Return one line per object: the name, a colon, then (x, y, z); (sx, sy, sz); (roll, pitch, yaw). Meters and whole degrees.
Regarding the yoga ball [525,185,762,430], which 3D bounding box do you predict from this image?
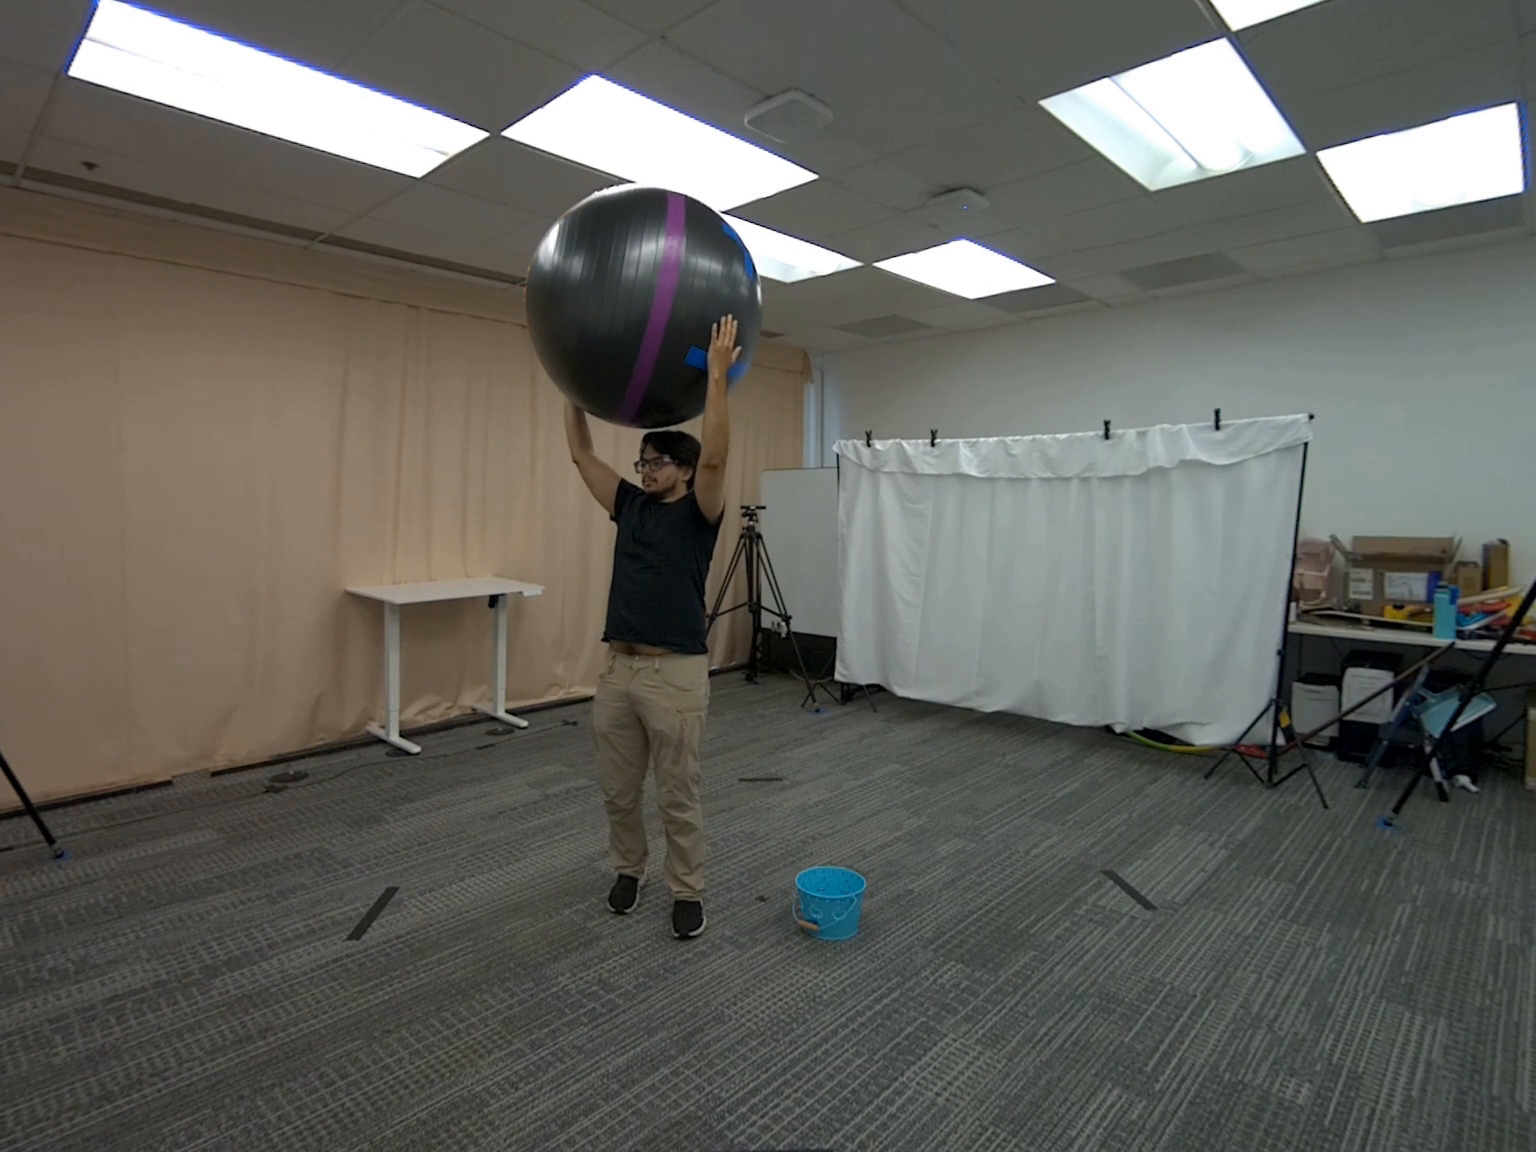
yoga ball: (-0.398, -0.856, 2.725); (0.757, 0.756, 0.761); (0, 4, -2)
